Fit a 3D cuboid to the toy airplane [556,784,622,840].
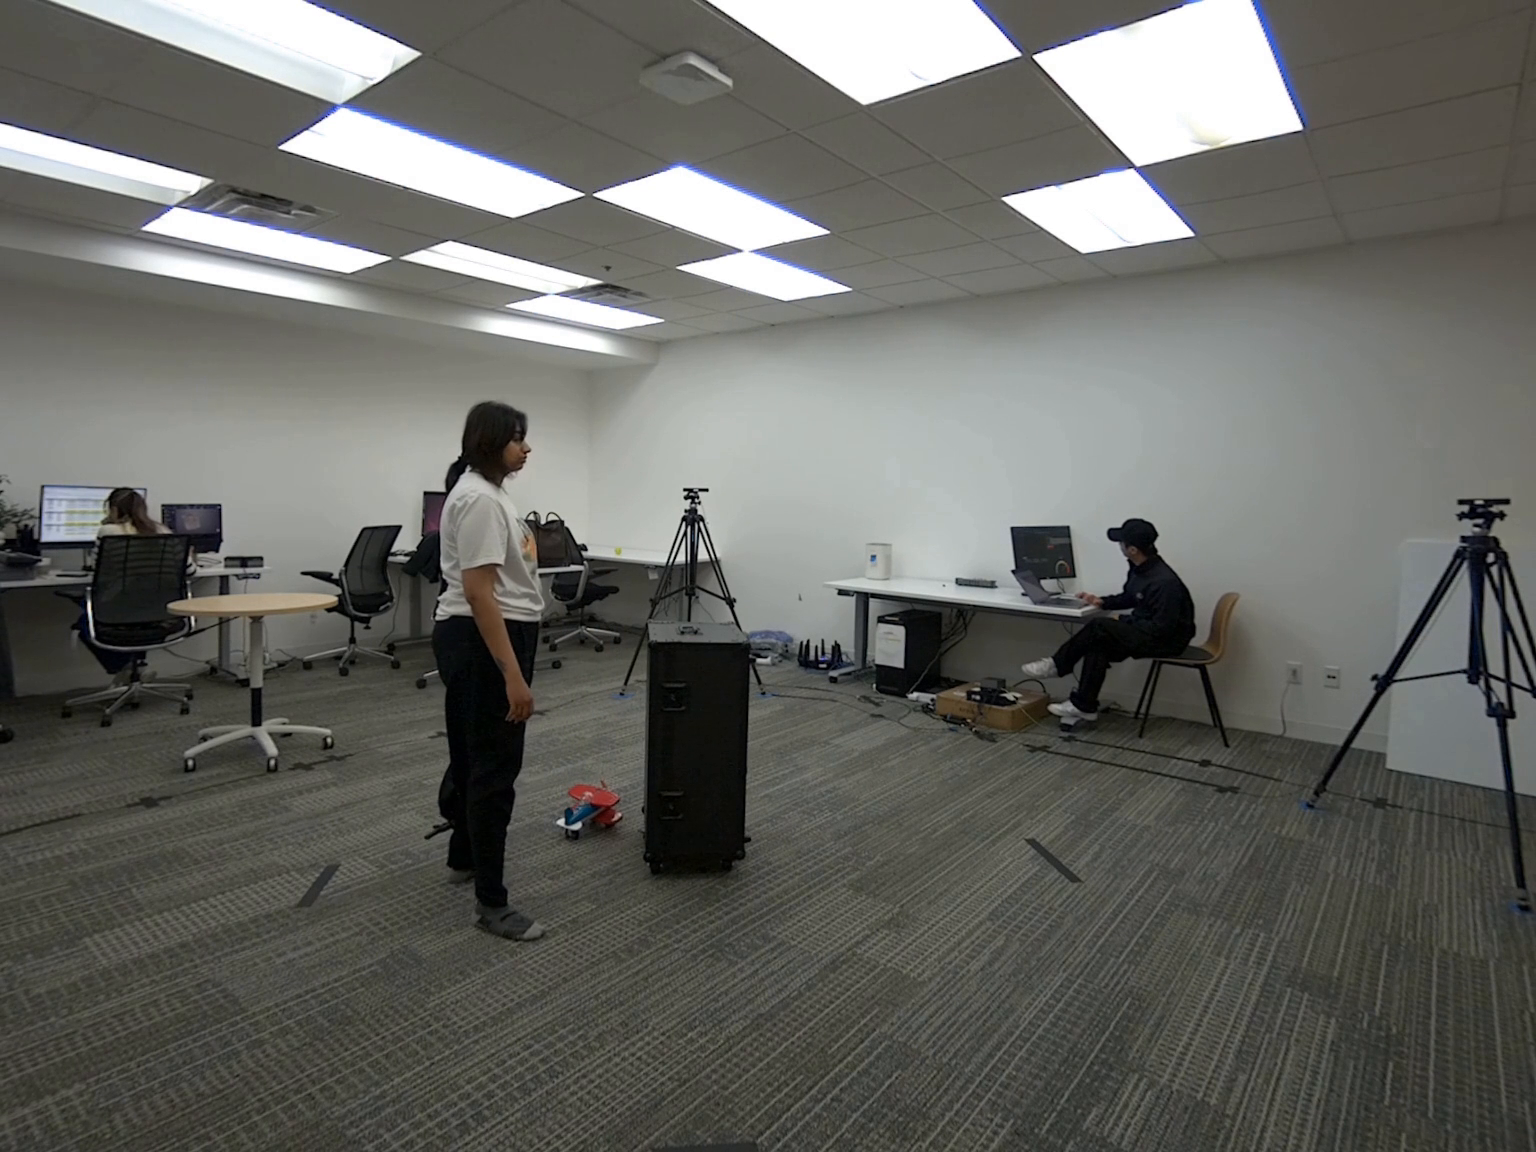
[{"bbox_3d":[-0.723,0.959,3.441,0.253,0.156,0.258,1,2,5],"label":"toy airplane"}]
